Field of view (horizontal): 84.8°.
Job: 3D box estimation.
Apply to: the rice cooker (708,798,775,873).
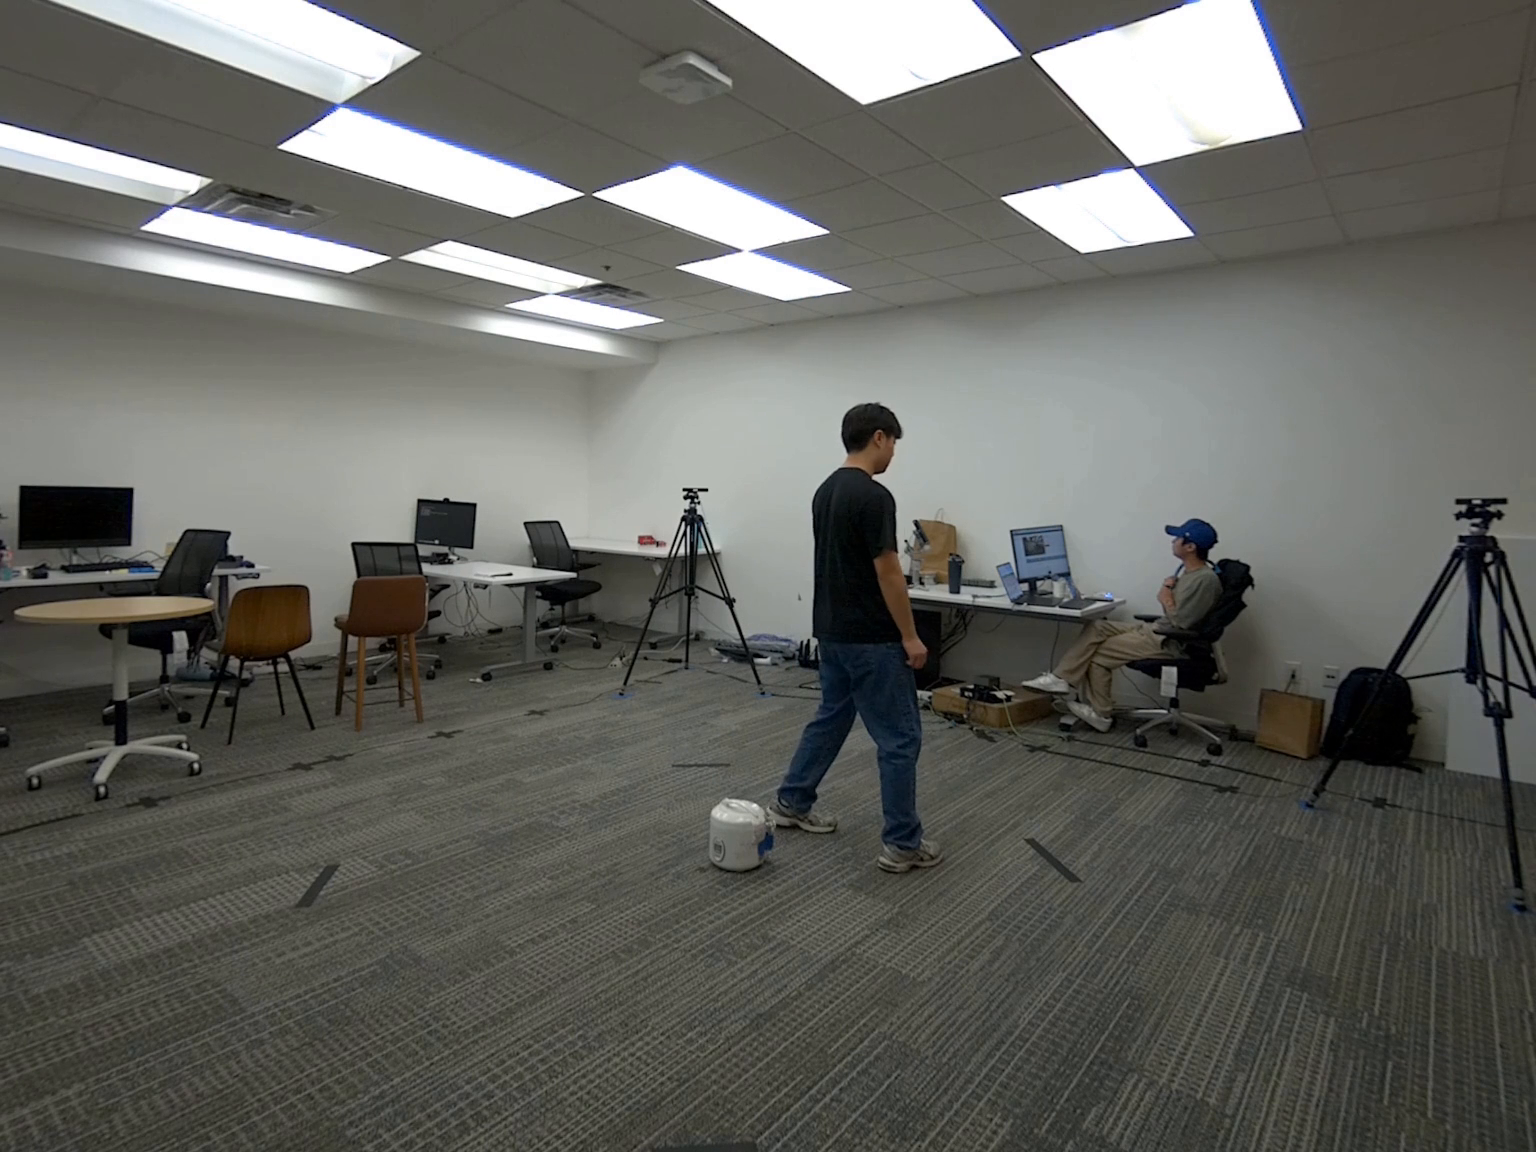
[{"bbox_3d":[-0.123,0.948,3.174,0.228,0.232,0.211,4,4,41],"label":"rice cooker"}]
